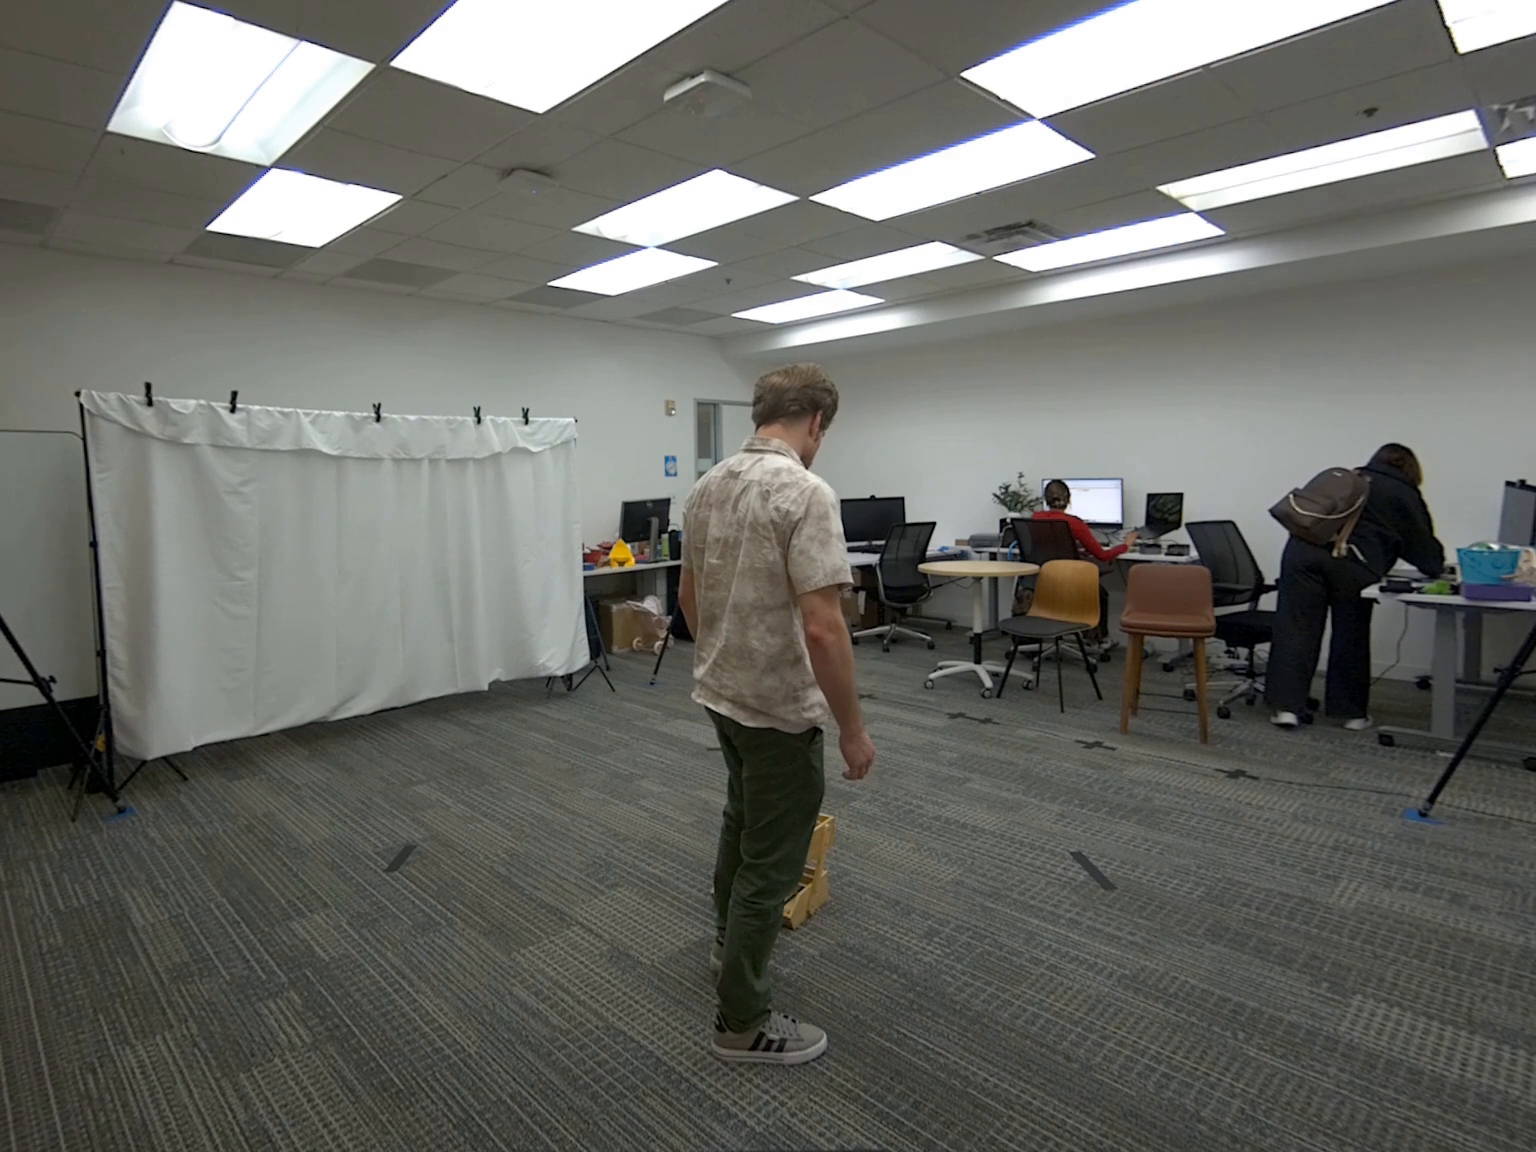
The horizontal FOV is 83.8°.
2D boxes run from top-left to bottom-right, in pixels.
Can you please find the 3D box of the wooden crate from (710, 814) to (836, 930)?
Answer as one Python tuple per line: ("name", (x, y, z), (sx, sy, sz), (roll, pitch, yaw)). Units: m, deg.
("wooden crate", (0.025, 0.943, 2.822), (0.333, 0.272, 0.295), (3, 6, 33))
